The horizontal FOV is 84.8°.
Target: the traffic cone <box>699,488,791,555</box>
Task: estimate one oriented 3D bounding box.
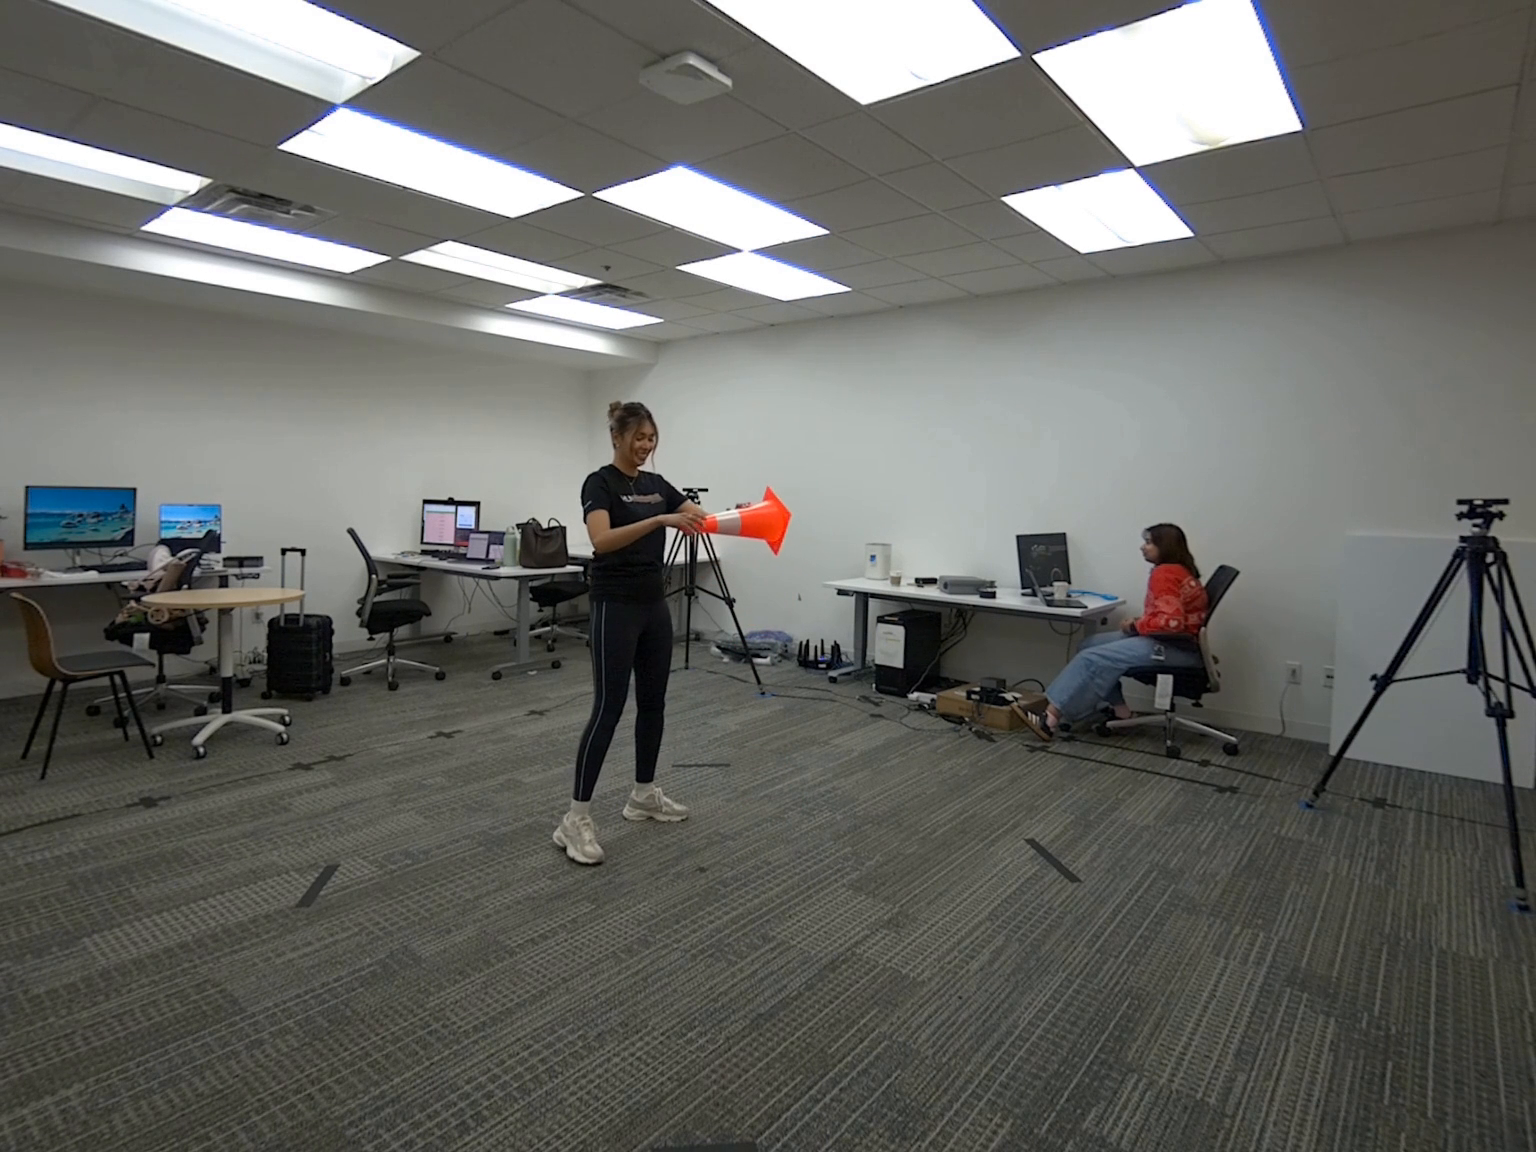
[{"bbox_3d":[-0.165,-0.185,3.168,0.375,0.201,0.212,-7,39,-25],"label":"traffic cone"}]
